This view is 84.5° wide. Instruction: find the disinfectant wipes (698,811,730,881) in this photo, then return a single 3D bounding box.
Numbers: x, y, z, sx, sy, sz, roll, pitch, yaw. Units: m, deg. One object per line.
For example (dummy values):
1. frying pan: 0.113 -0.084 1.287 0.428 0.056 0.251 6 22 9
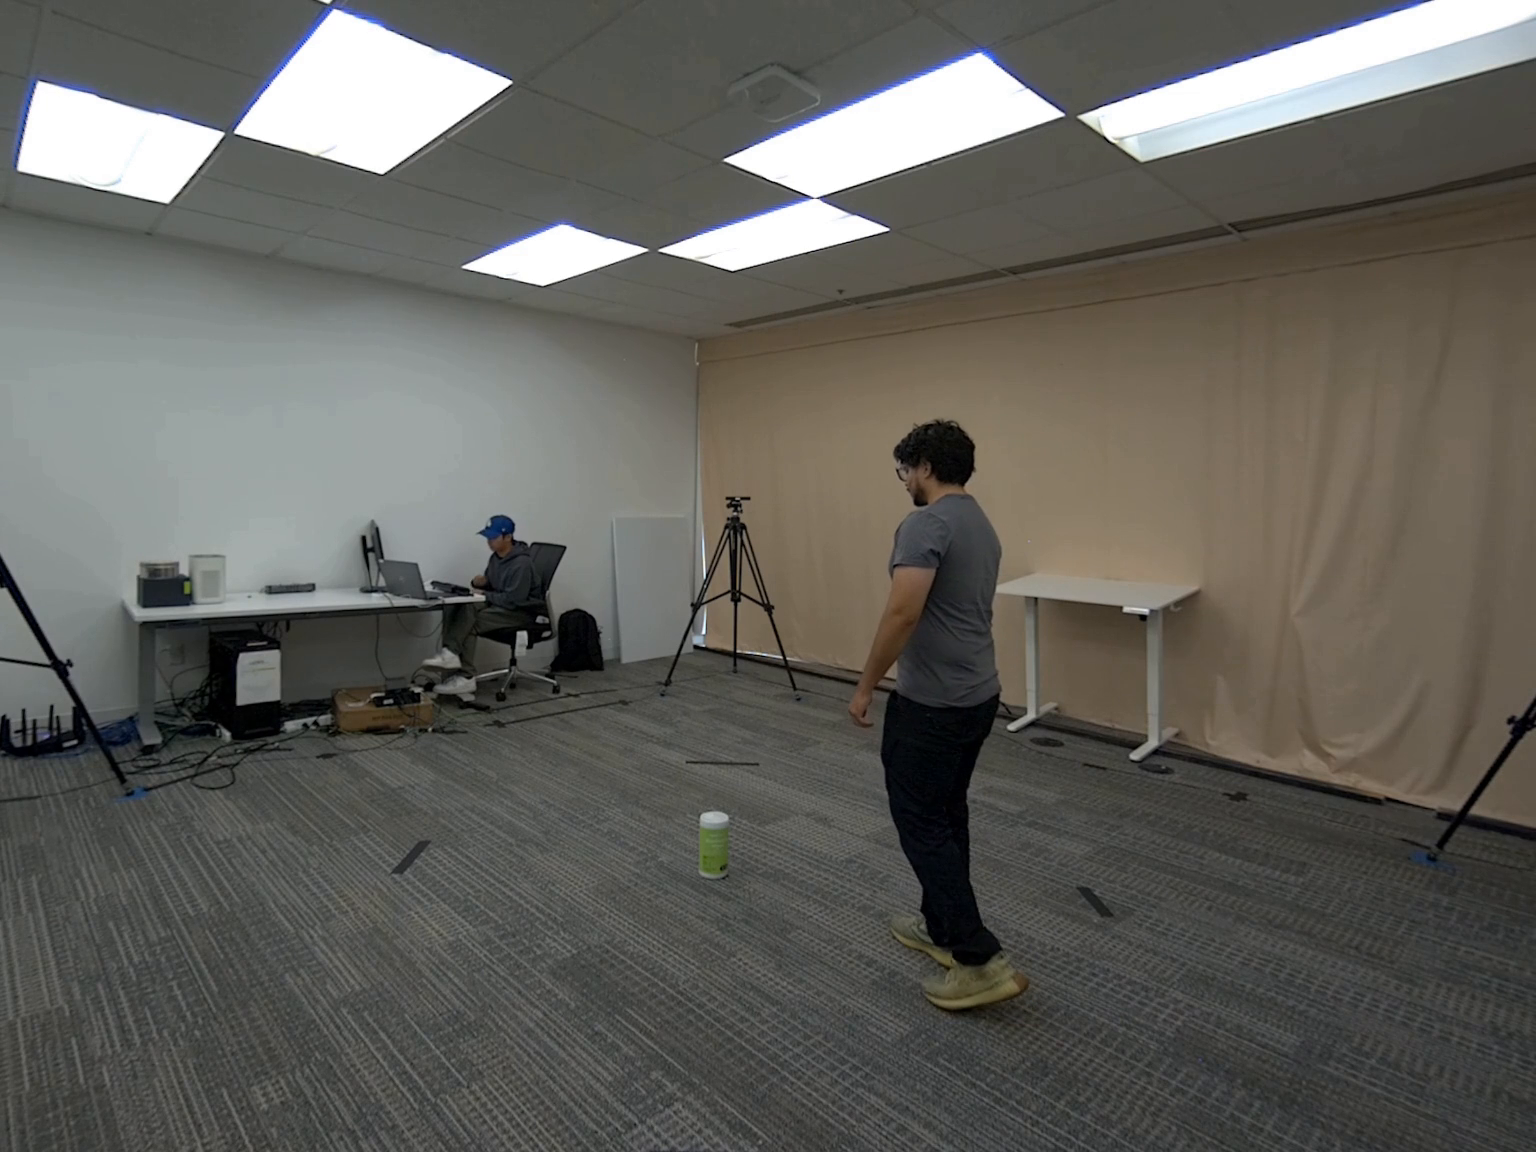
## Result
1. disinfectant wipes: -0.210 0.996 3.117 0.118 0.217 0.118 1 3 -1
